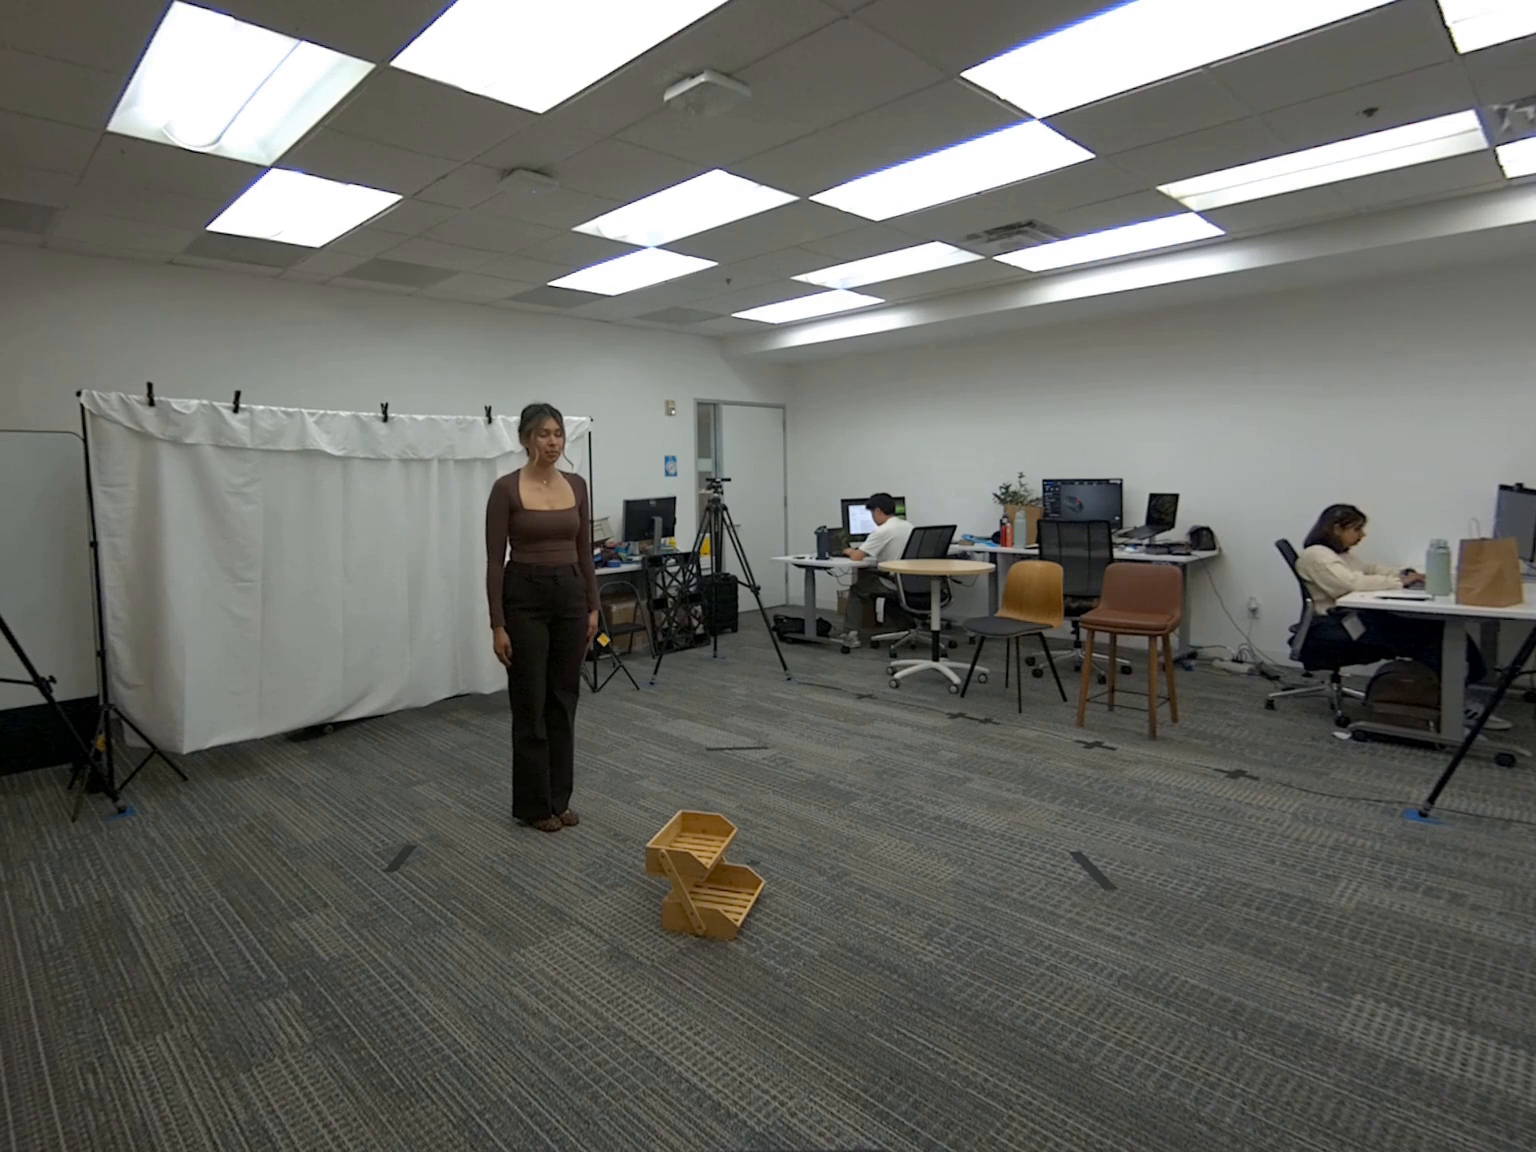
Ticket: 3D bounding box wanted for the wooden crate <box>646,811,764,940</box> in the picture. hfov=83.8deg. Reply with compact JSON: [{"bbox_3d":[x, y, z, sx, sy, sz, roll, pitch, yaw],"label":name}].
[{"bbox_3d":[-0.186,0.951,2.763,0.307,0.272,0.320,0,6,16],"label":"wooden crate"}]
